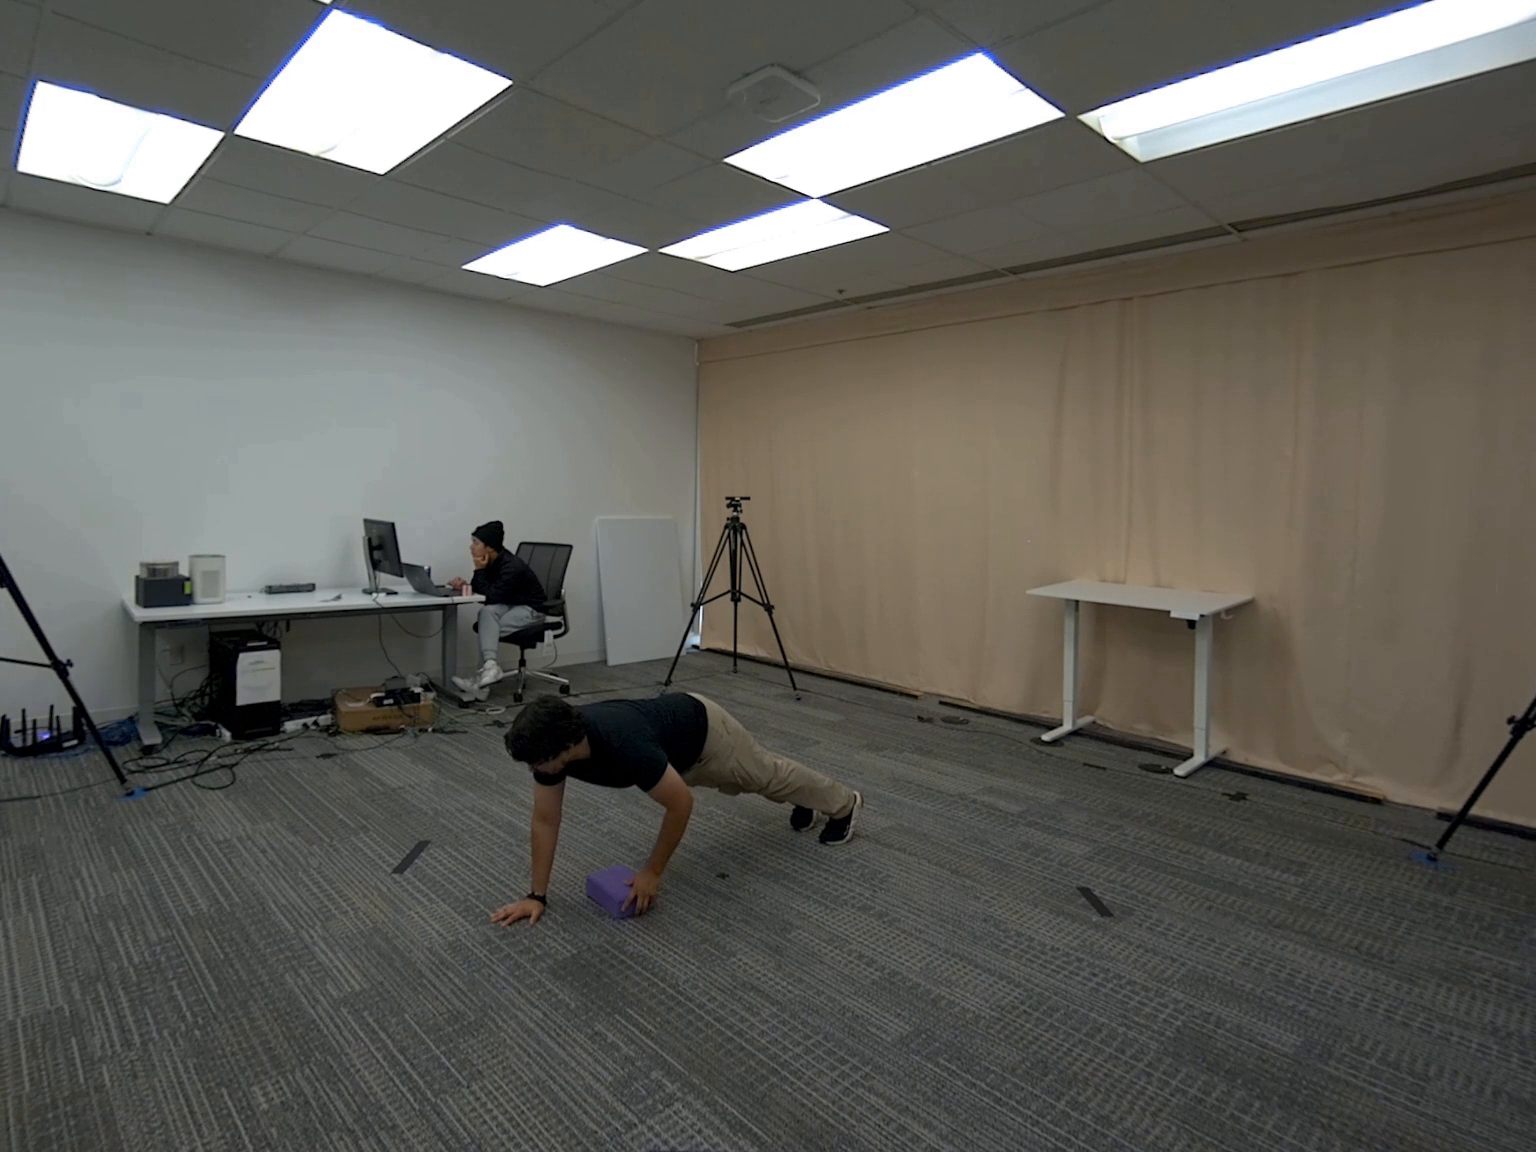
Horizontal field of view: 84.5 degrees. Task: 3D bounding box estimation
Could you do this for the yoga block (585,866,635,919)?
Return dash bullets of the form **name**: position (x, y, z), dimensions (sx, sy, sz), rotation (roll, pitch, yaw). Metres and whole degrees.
- **yoga block**: position (-0.516, 1.078, 2.880), dimensions (0.146, 0.076, 0.235), rotation (-3, 6, -38)
